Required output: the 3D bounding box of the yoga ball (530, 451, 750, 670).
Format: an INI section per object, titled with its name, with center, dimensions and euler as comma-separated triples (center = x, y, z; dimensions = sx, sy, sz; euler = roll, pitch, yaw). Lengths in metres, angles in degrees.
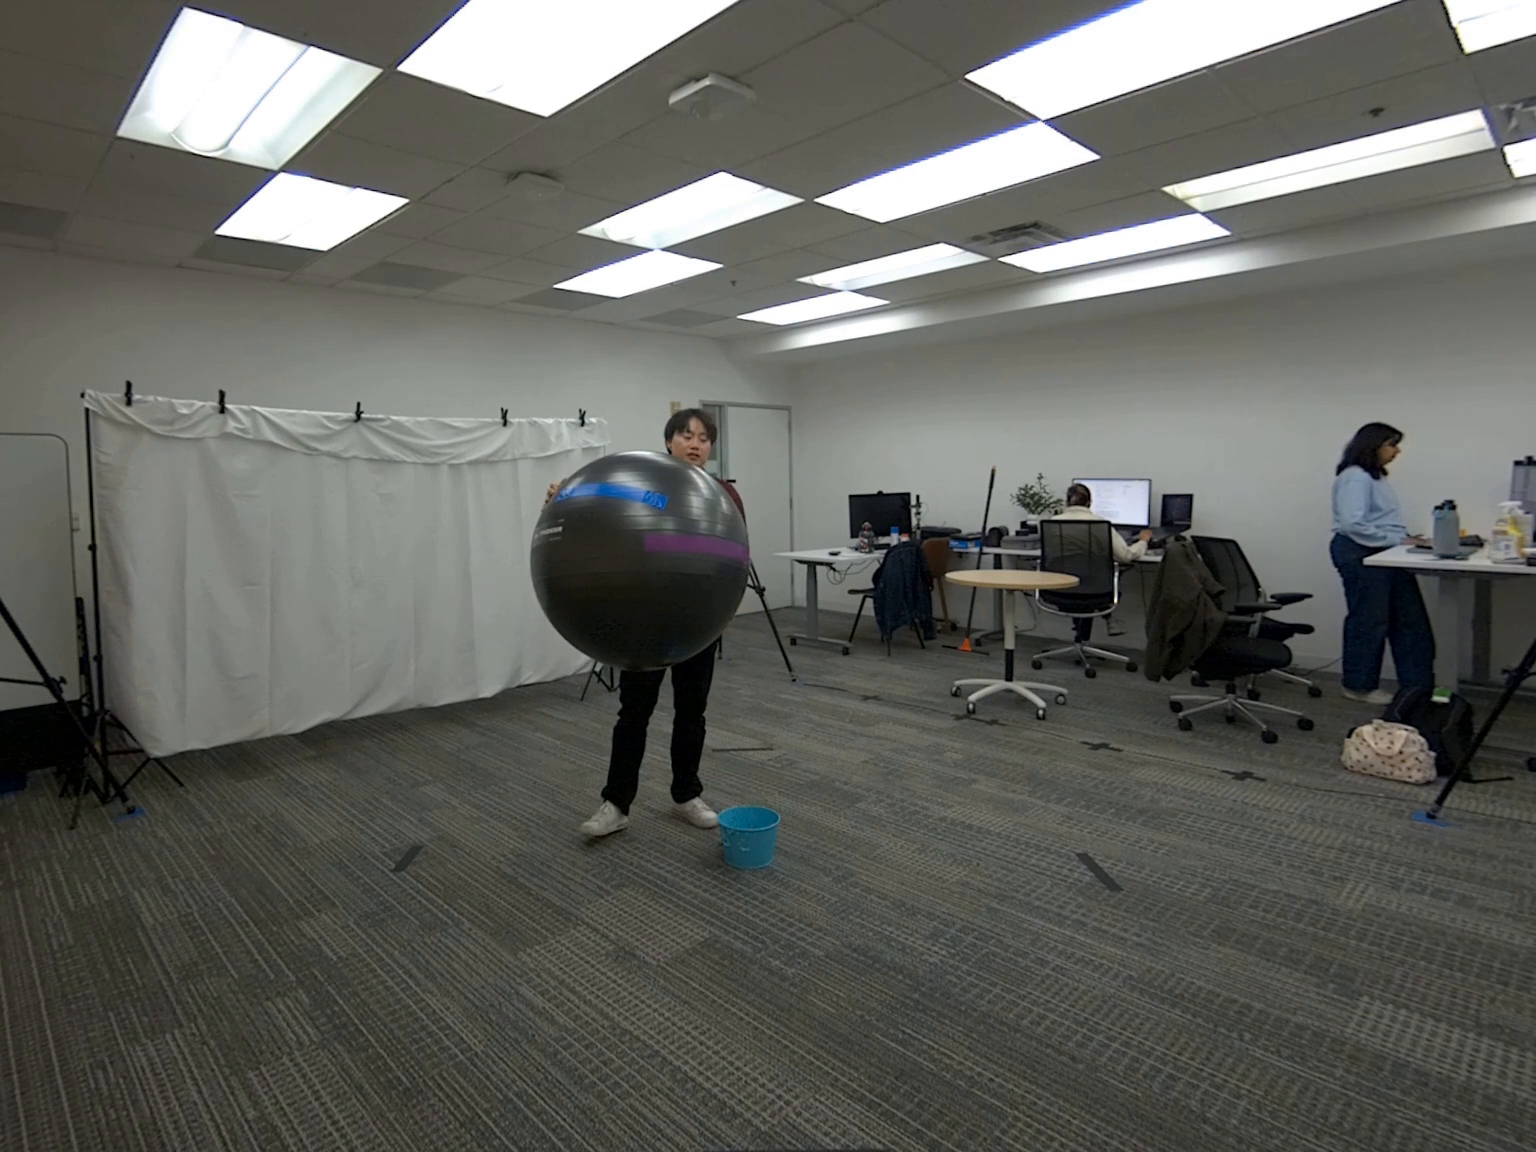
[yoga ball]
center = -0.450, -0.046, 2.984
dimensions = 0.757, 0.755, 0.762
euler = -1, 5, -2
